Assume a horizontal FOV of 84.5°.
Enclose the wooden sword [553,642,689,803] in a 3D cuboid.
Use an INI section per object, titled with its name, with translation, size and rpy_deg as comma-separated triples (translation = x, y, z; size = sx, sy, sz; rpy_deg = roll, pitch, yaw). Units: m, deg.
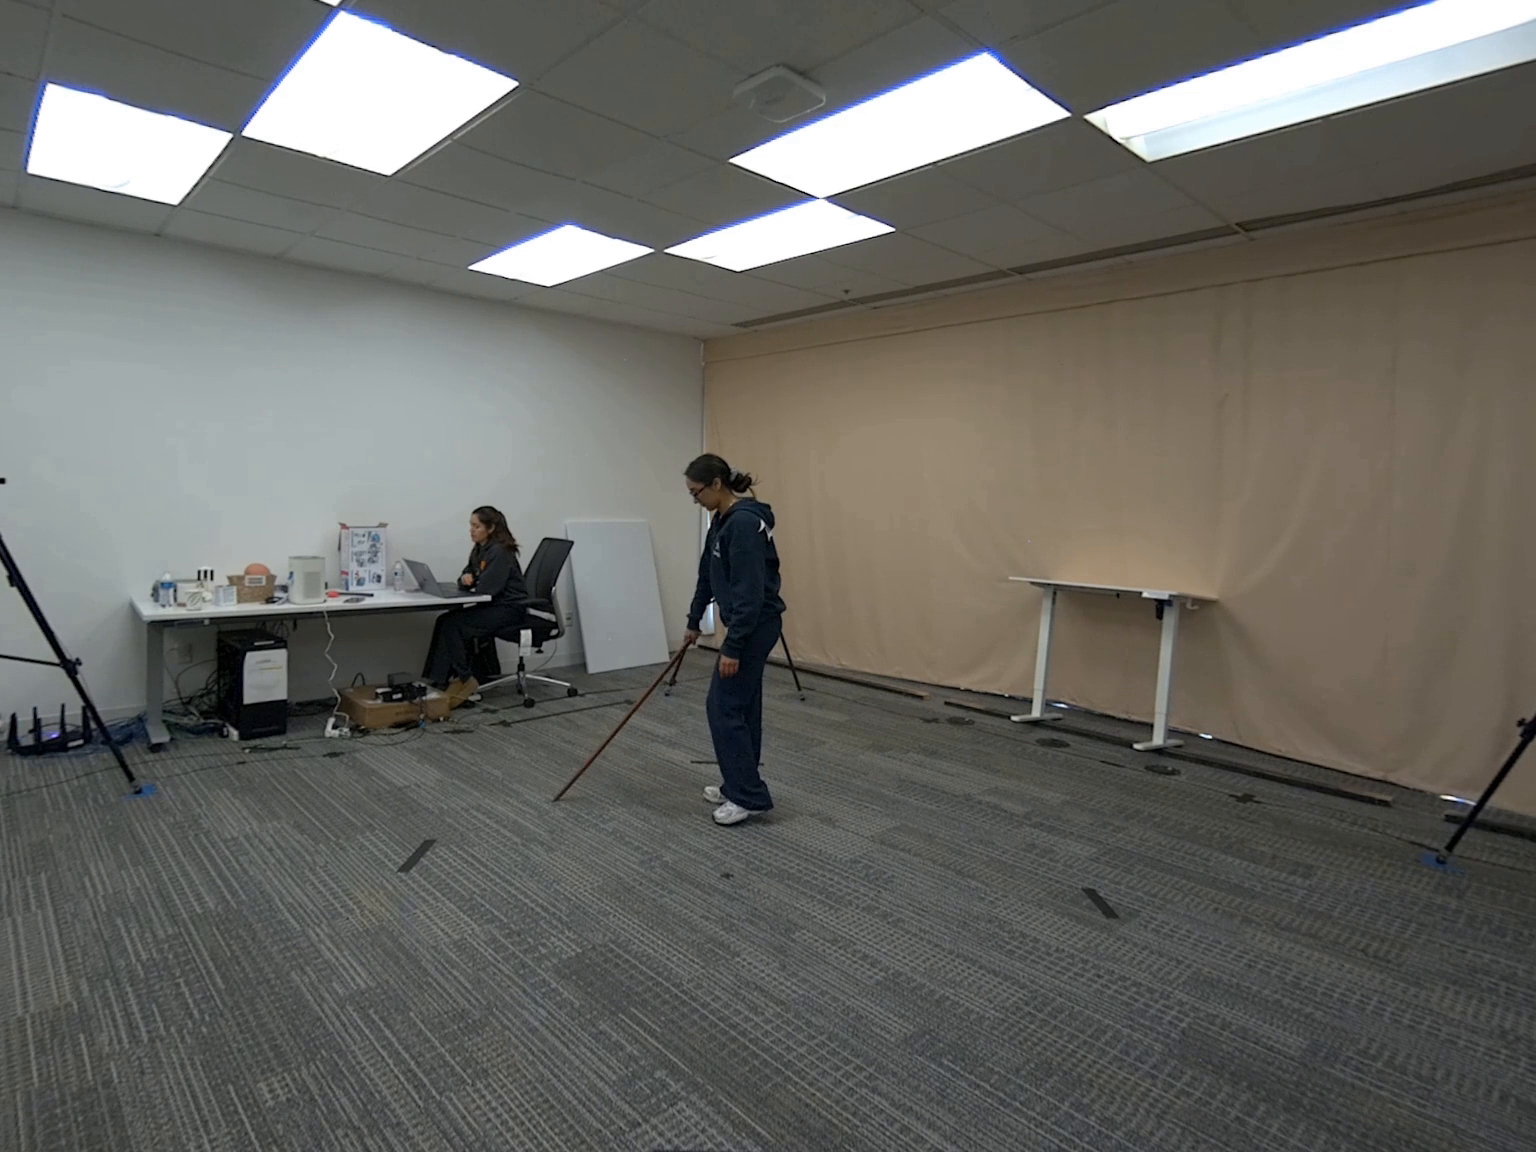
[wooden sword]
translation = -0.653, 0.642, 3.922
size = 0.024, 1.025, 0.050
rpy_deg = 35, -15, 22
